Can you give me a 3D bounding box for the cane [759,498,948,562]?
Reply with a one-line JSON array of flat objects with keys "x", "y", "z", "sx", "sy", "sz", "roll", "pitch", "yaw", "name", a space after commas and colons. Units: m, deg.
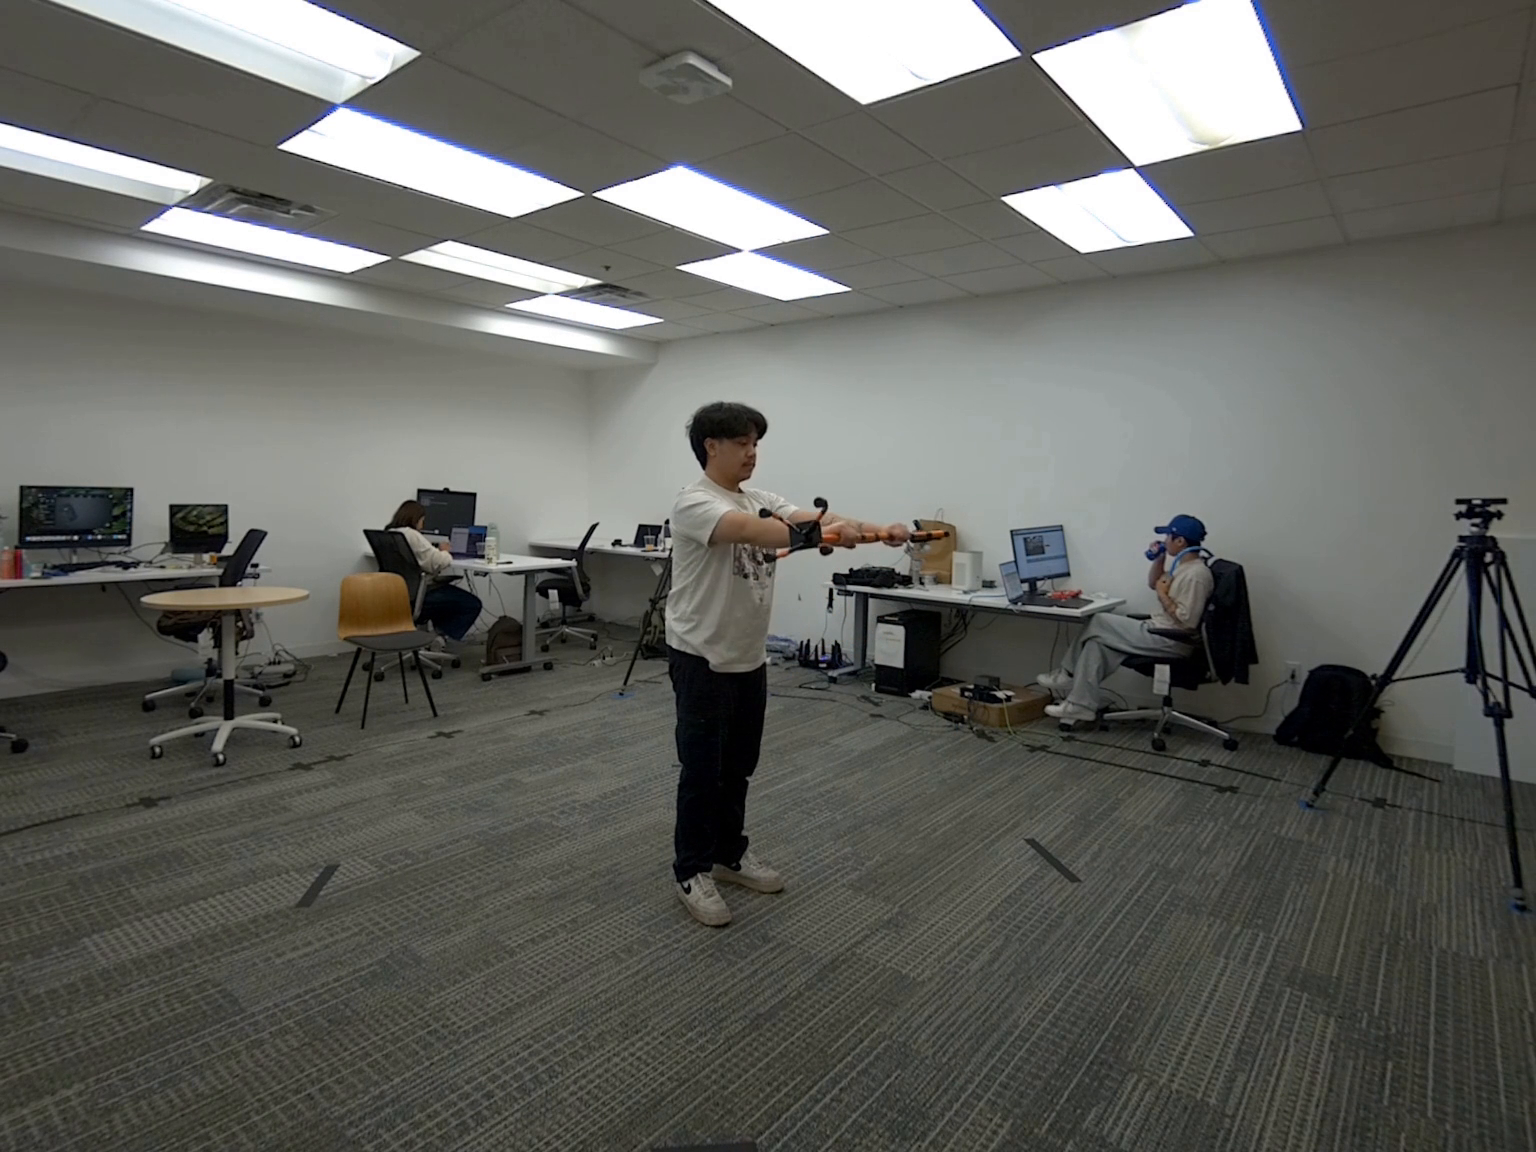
[{"x": 0.322, "y": -0.137, "z": 2.573, "sx": 0.212, "sy": 0.152, "sz": 0.881, "roll": -6, "pitch": -1, "yaw": 37, "name": "cane"}]
